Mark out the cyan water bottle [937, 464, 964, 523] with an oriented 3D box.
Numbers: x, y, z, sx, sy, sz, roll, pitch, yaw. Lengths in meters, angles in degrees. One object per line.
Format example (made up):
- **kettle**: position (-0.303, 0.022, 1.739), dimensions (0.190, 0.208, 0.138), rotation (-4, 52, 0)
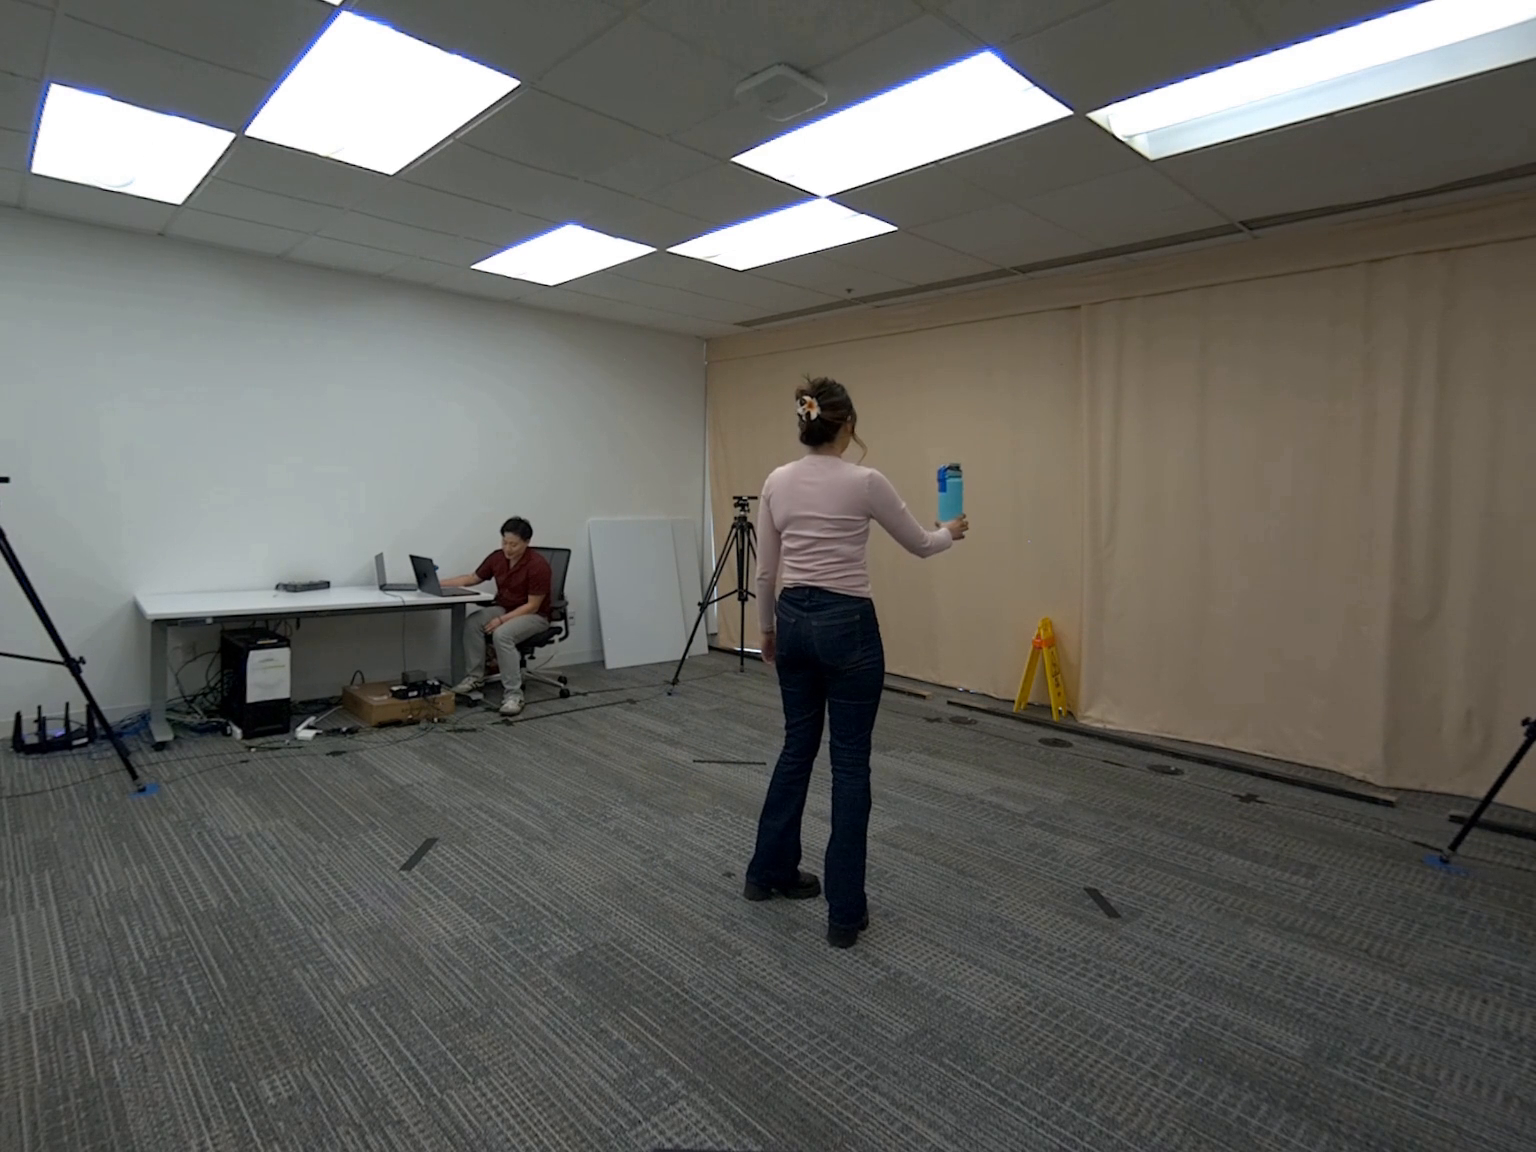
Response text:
- **cyan water bottle**: position (0.662, -0.276, 3.087), dimensions (0.092, 0.282, 0.093), rotation (-2, 5, -1)
